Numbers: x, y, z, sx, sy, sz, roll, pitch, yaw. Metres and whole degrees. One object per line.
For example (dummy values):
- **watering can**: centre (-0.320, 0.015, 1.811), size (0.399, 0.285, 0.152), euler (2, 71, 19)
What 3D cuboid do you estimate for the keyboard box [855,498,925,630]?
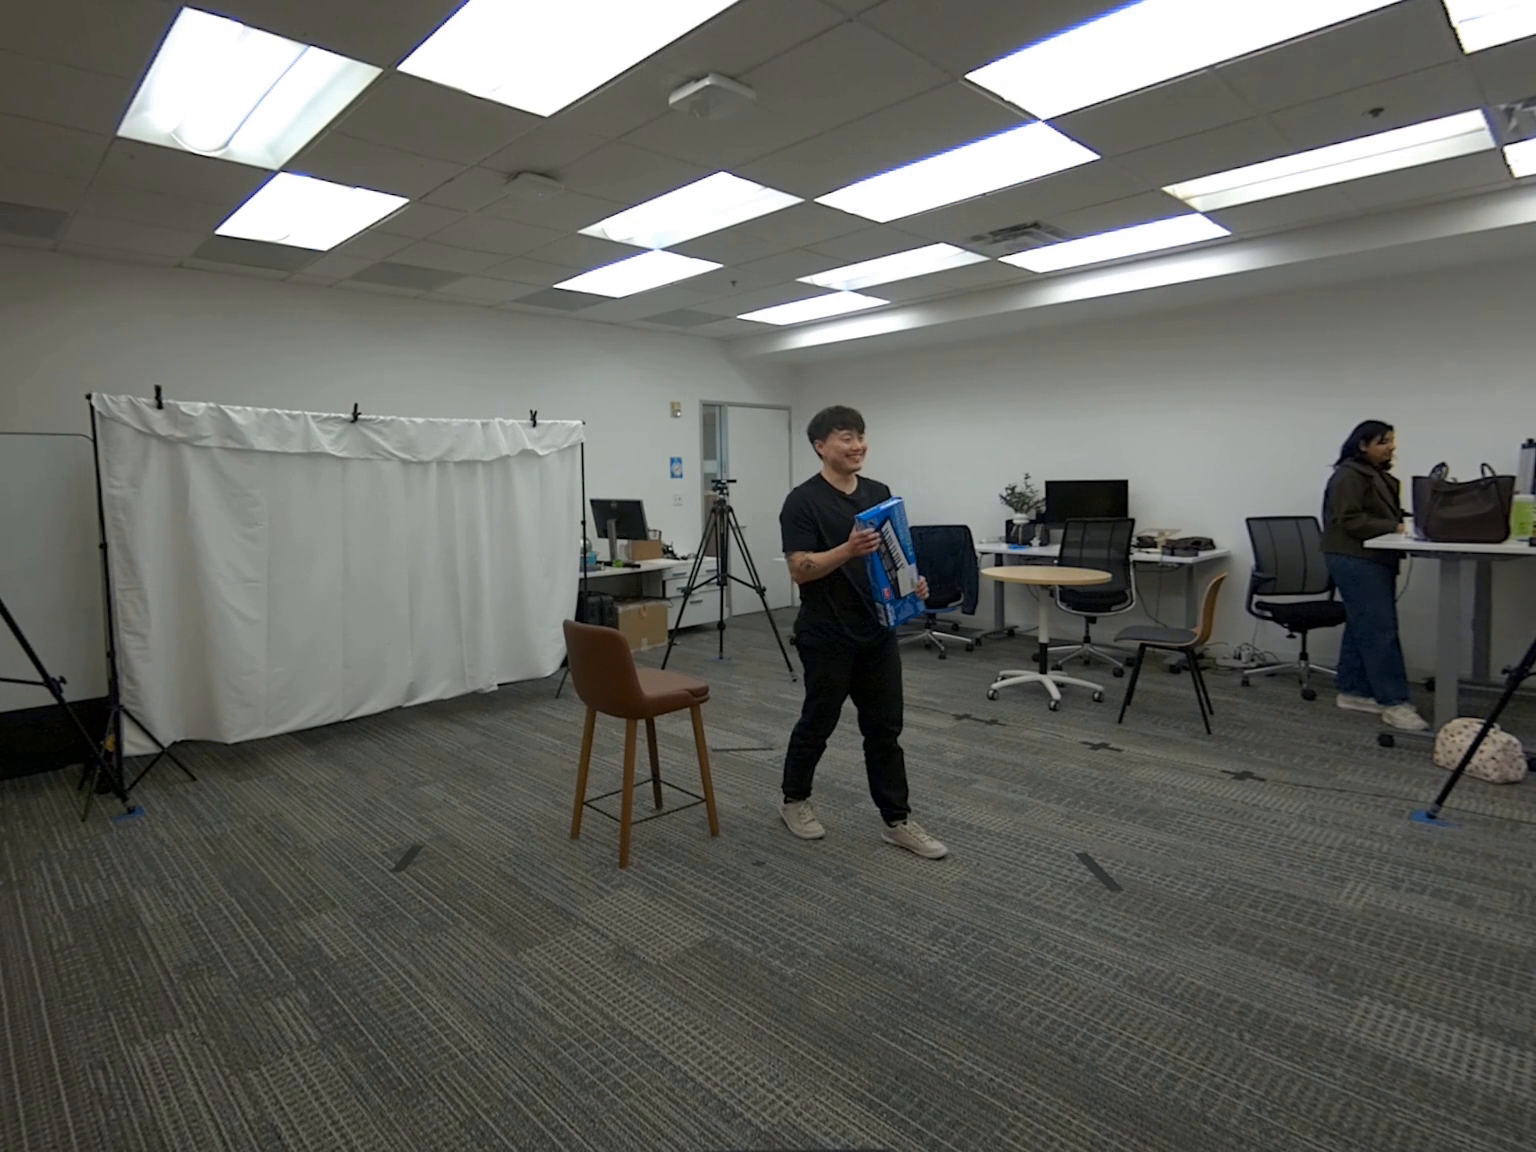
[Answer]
- **keyboard box**: centre (0.433, -0.044, 3.011), size (0.174, 0.427, 0.061), euler (-25, 22, -21)
